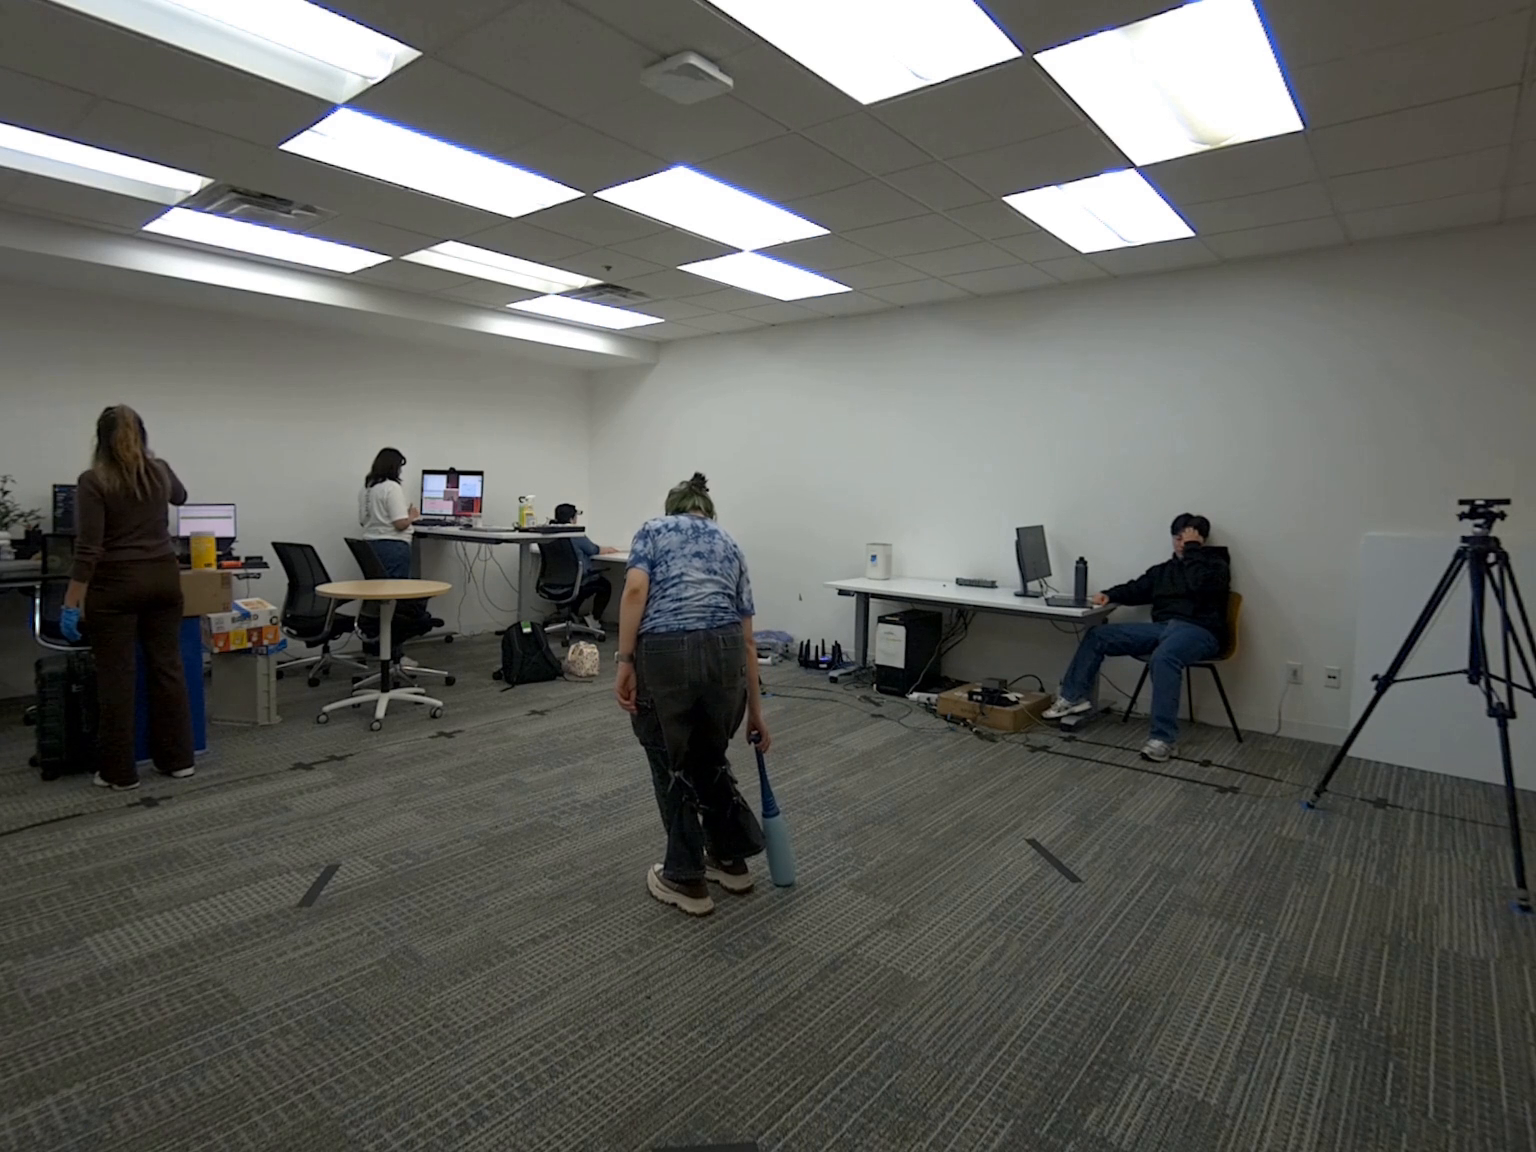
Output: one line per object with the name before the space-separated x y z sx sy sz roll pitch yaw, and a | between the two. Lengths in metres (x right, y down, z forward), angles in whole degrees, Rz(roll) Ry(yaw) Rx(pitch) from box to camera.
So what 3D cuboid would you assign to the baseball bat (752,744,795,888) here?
baseball bat | -0.004 0.827 2.987 0.089 0.540 0.089 -11 5 -1
